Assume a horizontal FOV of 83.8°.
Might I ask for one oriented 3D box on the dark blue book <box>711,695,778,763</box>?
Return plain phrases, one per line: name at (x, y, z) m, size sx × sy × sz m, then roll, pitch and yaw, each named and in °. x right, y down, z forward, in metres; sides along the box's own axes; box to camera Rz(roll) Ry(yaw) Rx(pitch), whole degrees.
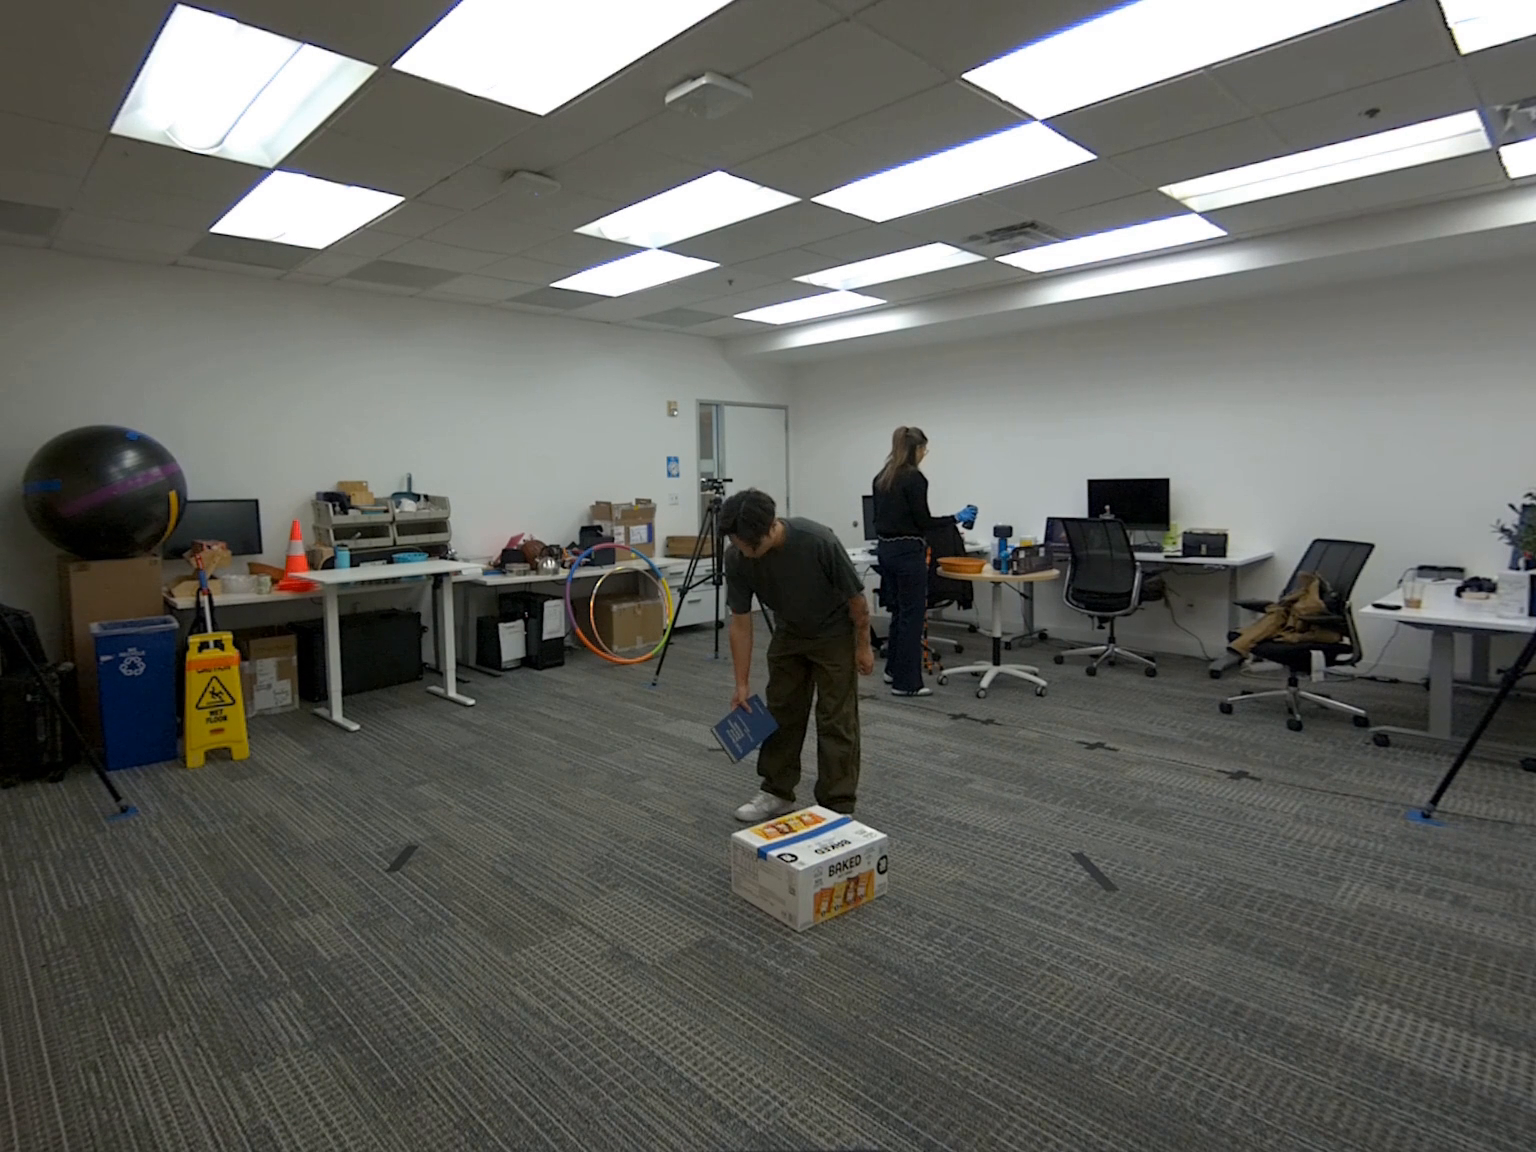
dark blue book at (-0.094, 0.604, 3.381) m, size 0.243 × 0.165 × 0.045 m, roll -32°, pitch -6°, yaw -34°
